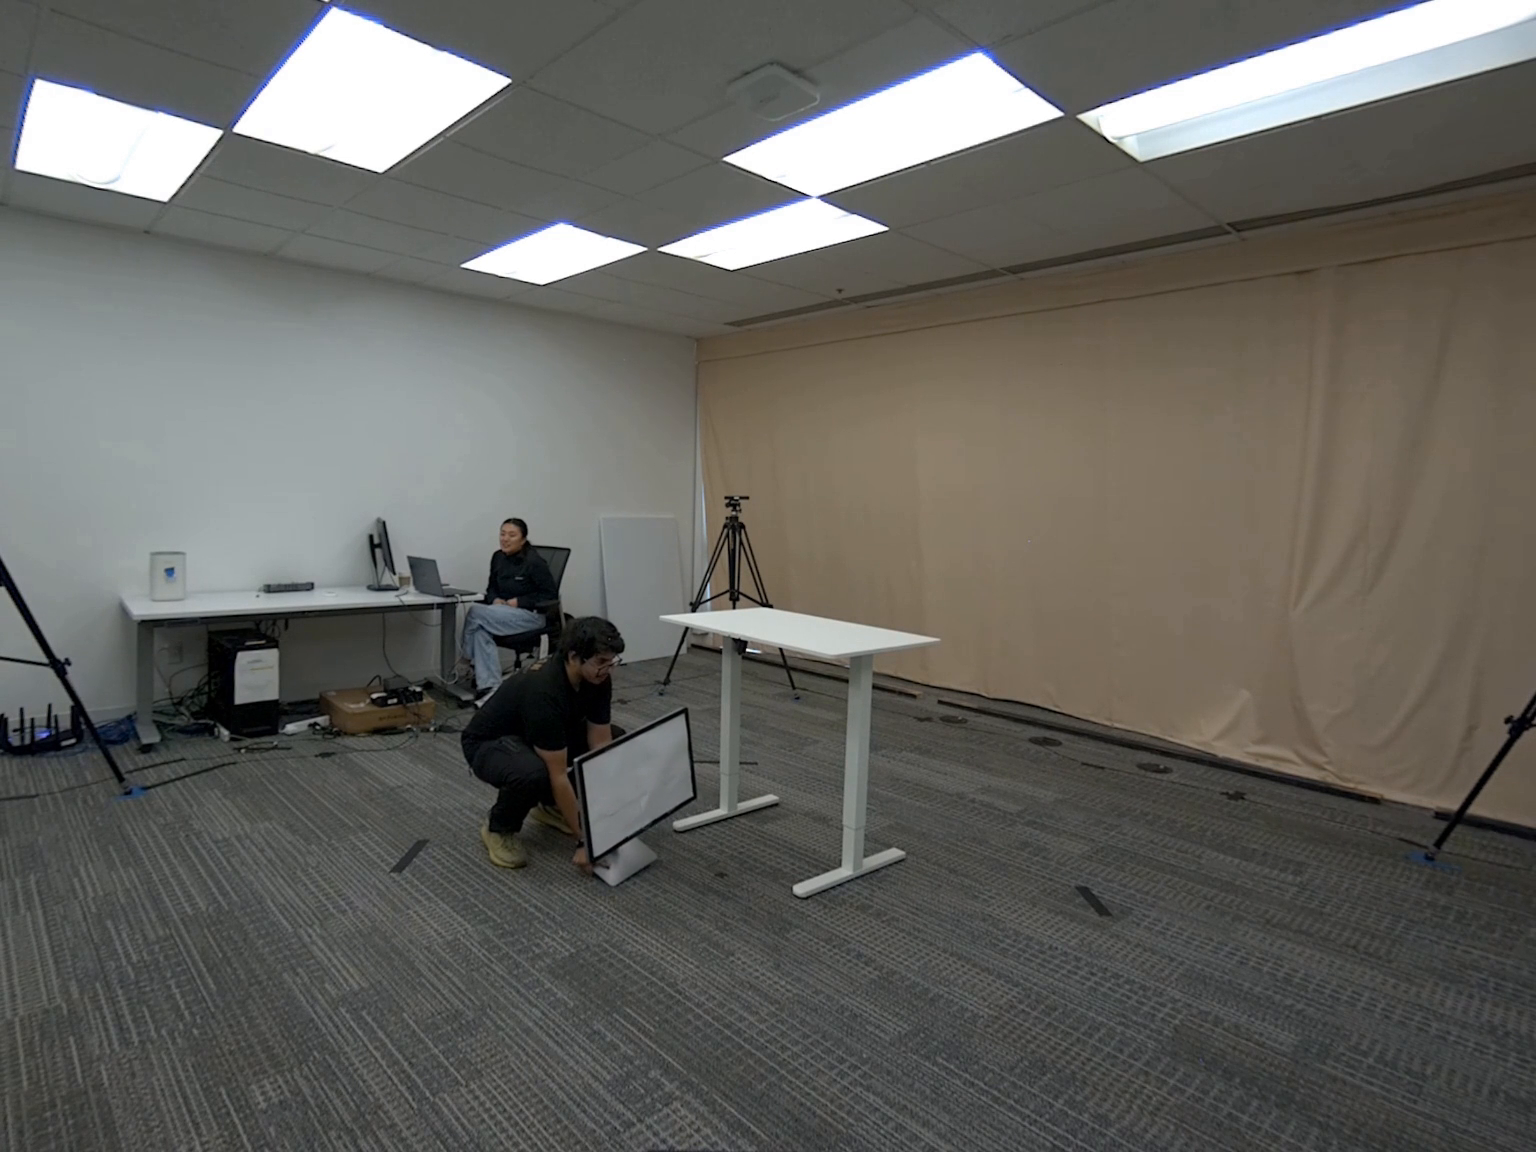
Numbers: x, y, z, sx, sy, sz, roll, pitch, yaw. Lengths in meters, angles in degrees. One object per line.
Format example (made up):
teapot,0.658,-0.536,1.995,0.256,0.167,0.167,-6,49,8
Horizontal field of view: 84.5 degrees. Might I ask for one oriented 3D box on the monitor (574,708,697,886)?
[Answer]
monitor,-0.527,0.806,3.039,0.216,0.549,0.556,12,16,34
